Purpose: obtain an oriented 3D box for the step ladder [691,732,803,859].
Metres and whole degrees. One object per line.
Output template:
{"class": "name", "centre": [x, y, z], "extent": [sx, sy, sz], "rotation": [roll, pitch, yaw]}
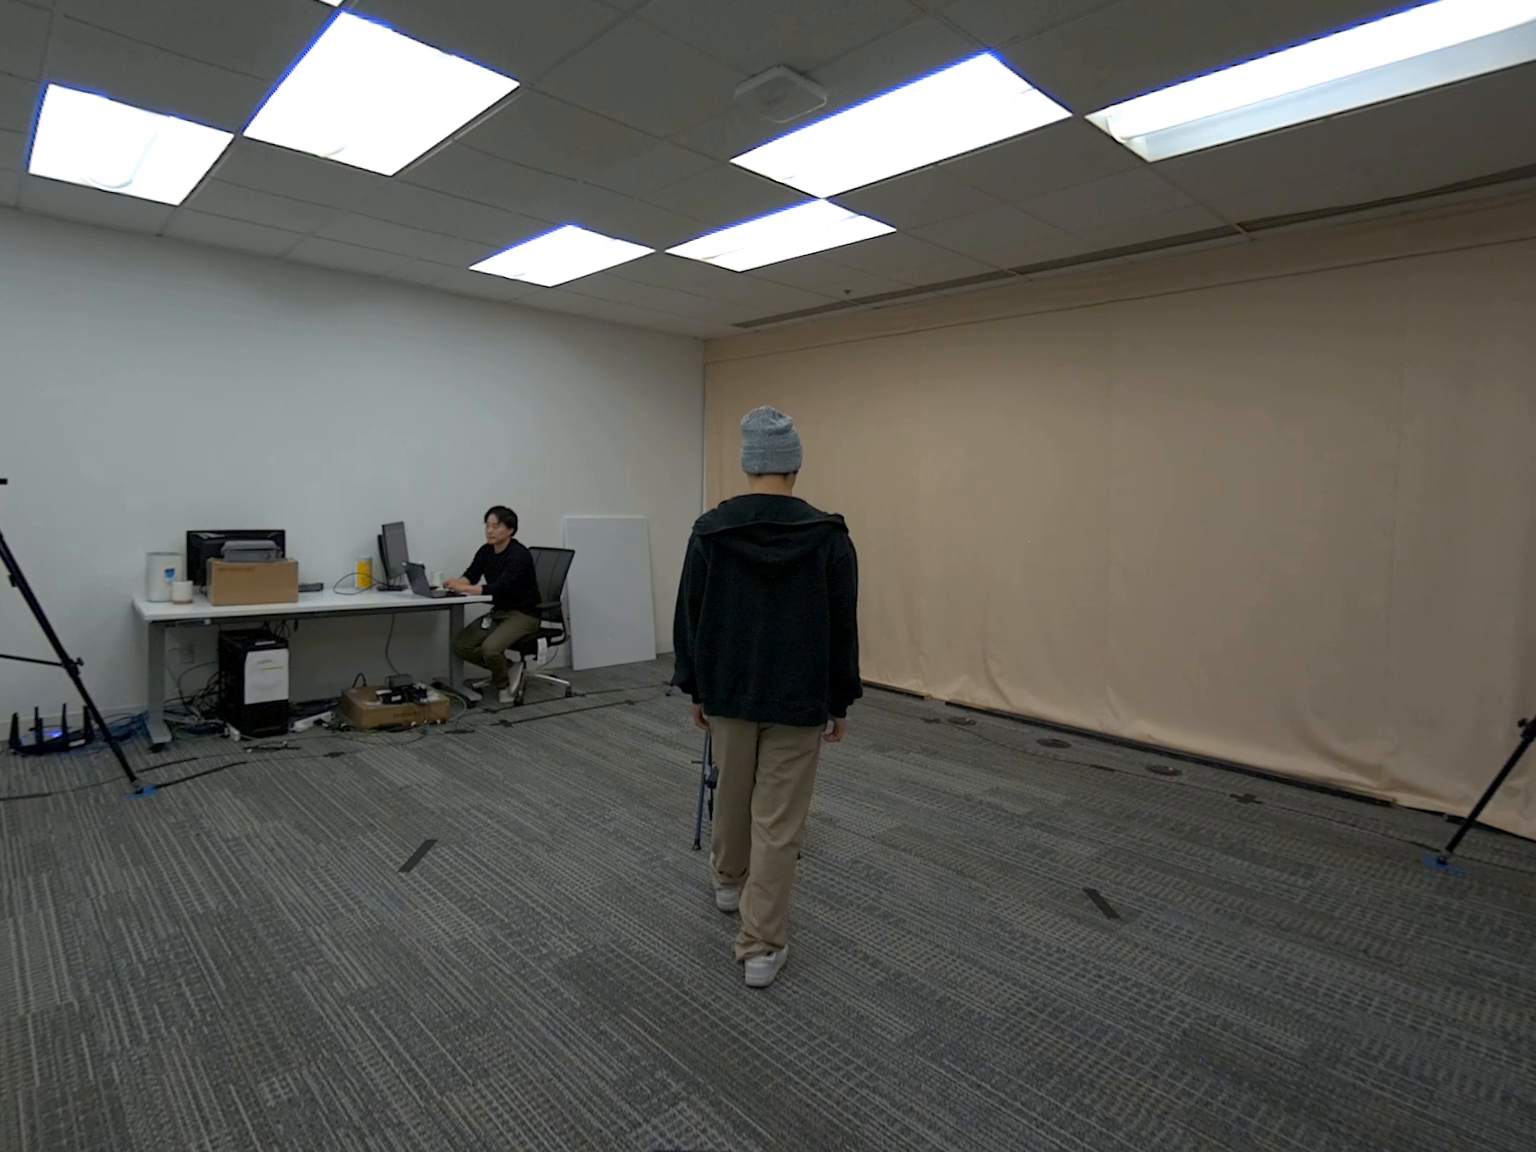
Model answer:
{"class": "step ladder", "centre": [-0.062, 0.780, 3.453], "extent": [0.433, 0.605, 0.348], "rotation": [2, 3, 7]}
